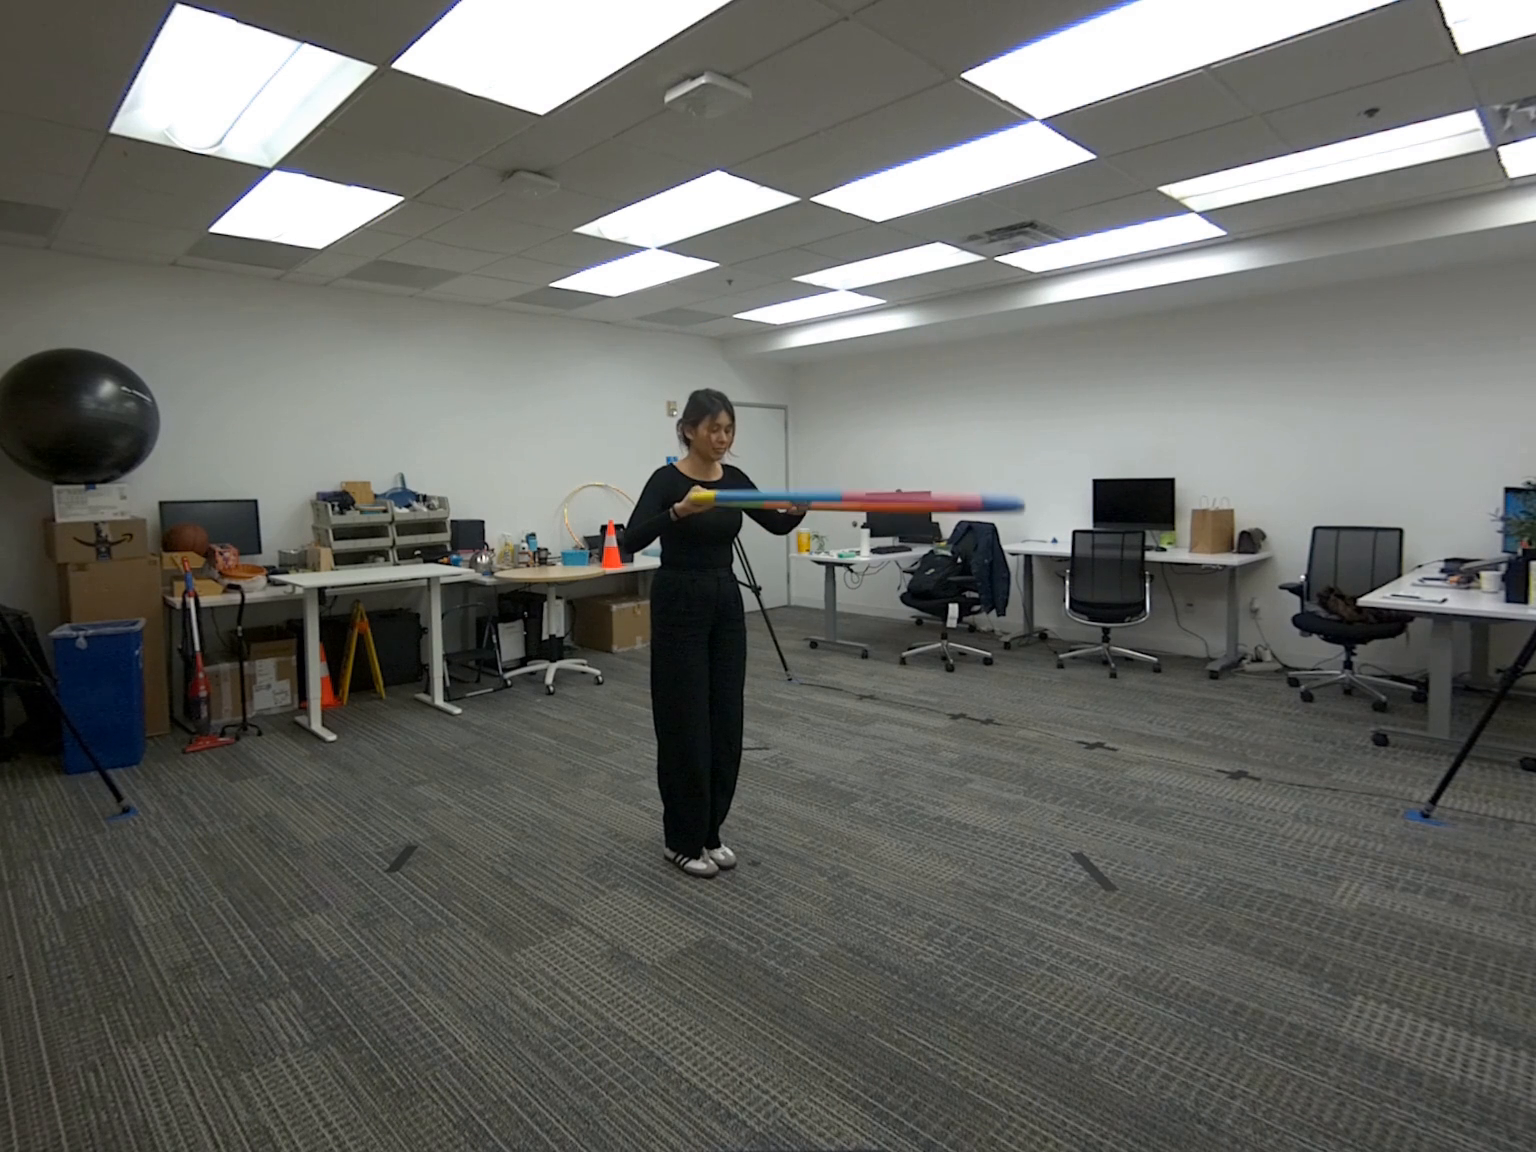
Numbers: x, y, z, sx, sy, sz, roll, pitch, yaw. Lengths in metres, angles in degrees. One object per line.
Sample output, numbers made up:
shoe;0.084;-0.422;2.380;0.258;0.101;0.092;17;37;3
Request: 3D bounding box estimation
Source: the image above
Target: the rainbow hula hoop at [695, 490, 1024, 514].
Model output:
rainbow hula hoop;0.227;-0.204;2.592;0.978;0.035;0.981;2;4;-2
